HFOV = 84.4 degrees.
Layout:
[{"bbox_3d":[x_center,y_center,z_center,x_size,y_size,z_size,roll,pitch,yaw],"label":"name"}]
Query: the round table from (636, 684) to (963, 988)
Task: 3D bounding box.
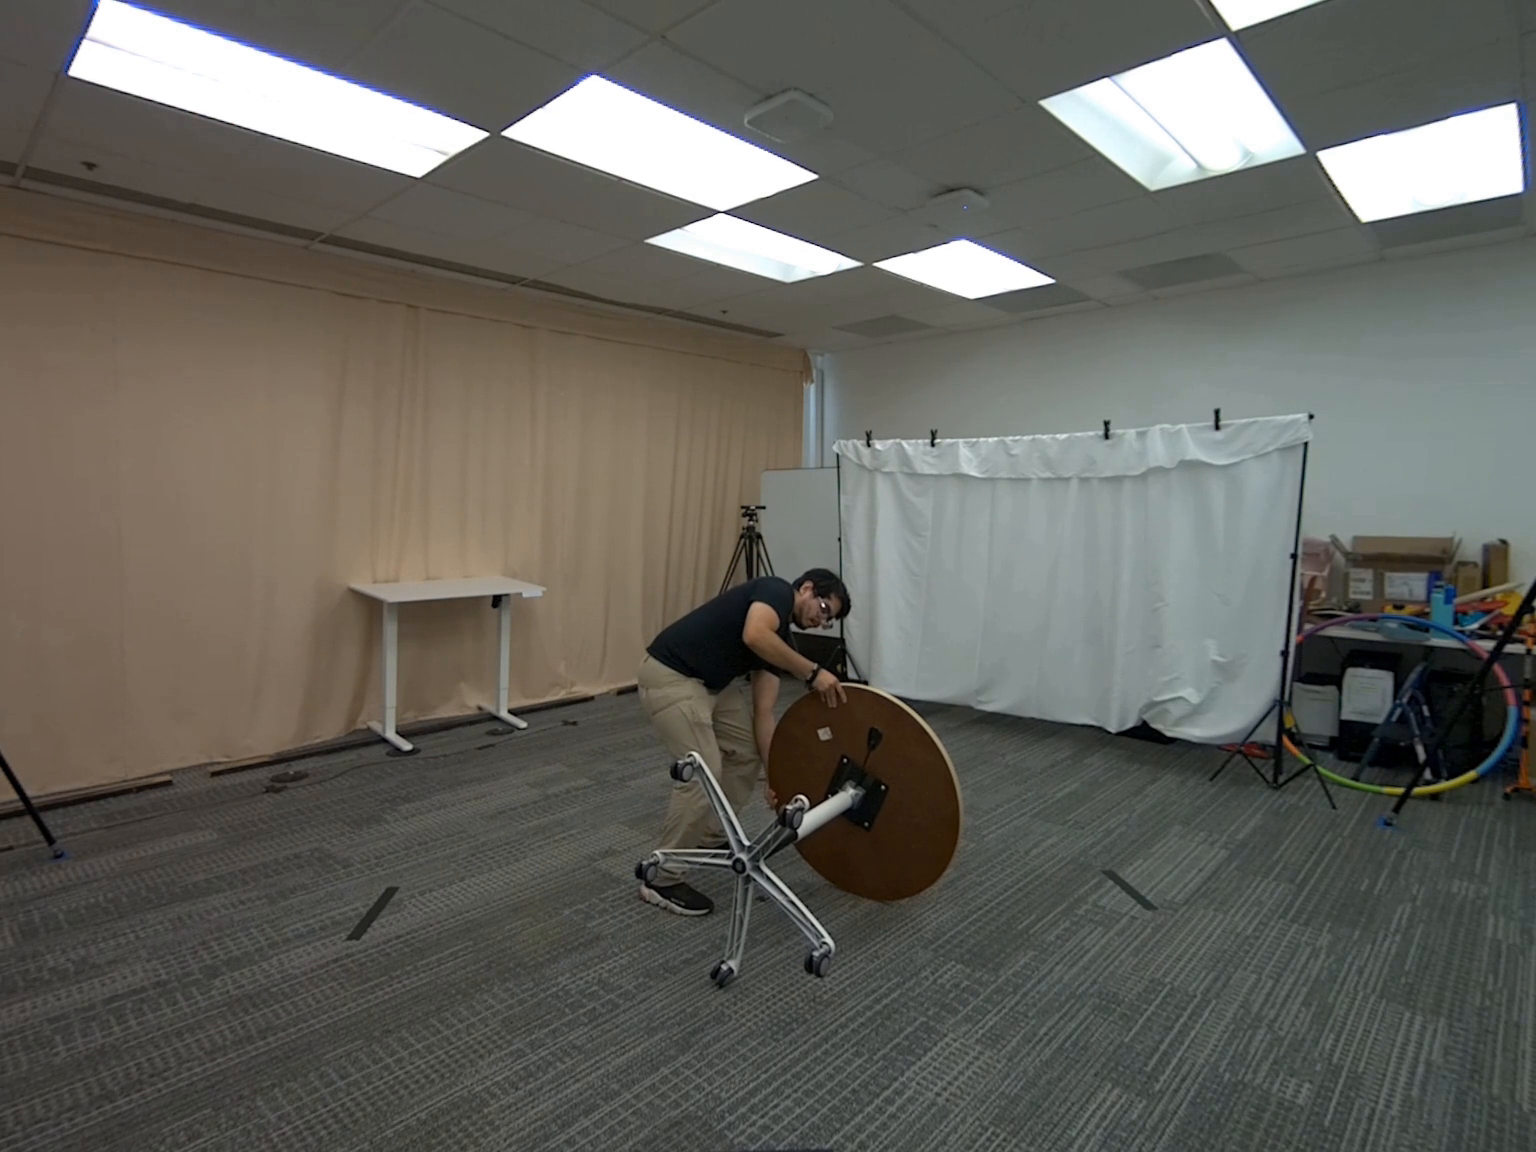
[{"bbox_3d":[0.106,0.796,2.676,0.810,0.782,0.765,3,8,37],"label":"round table"}]
